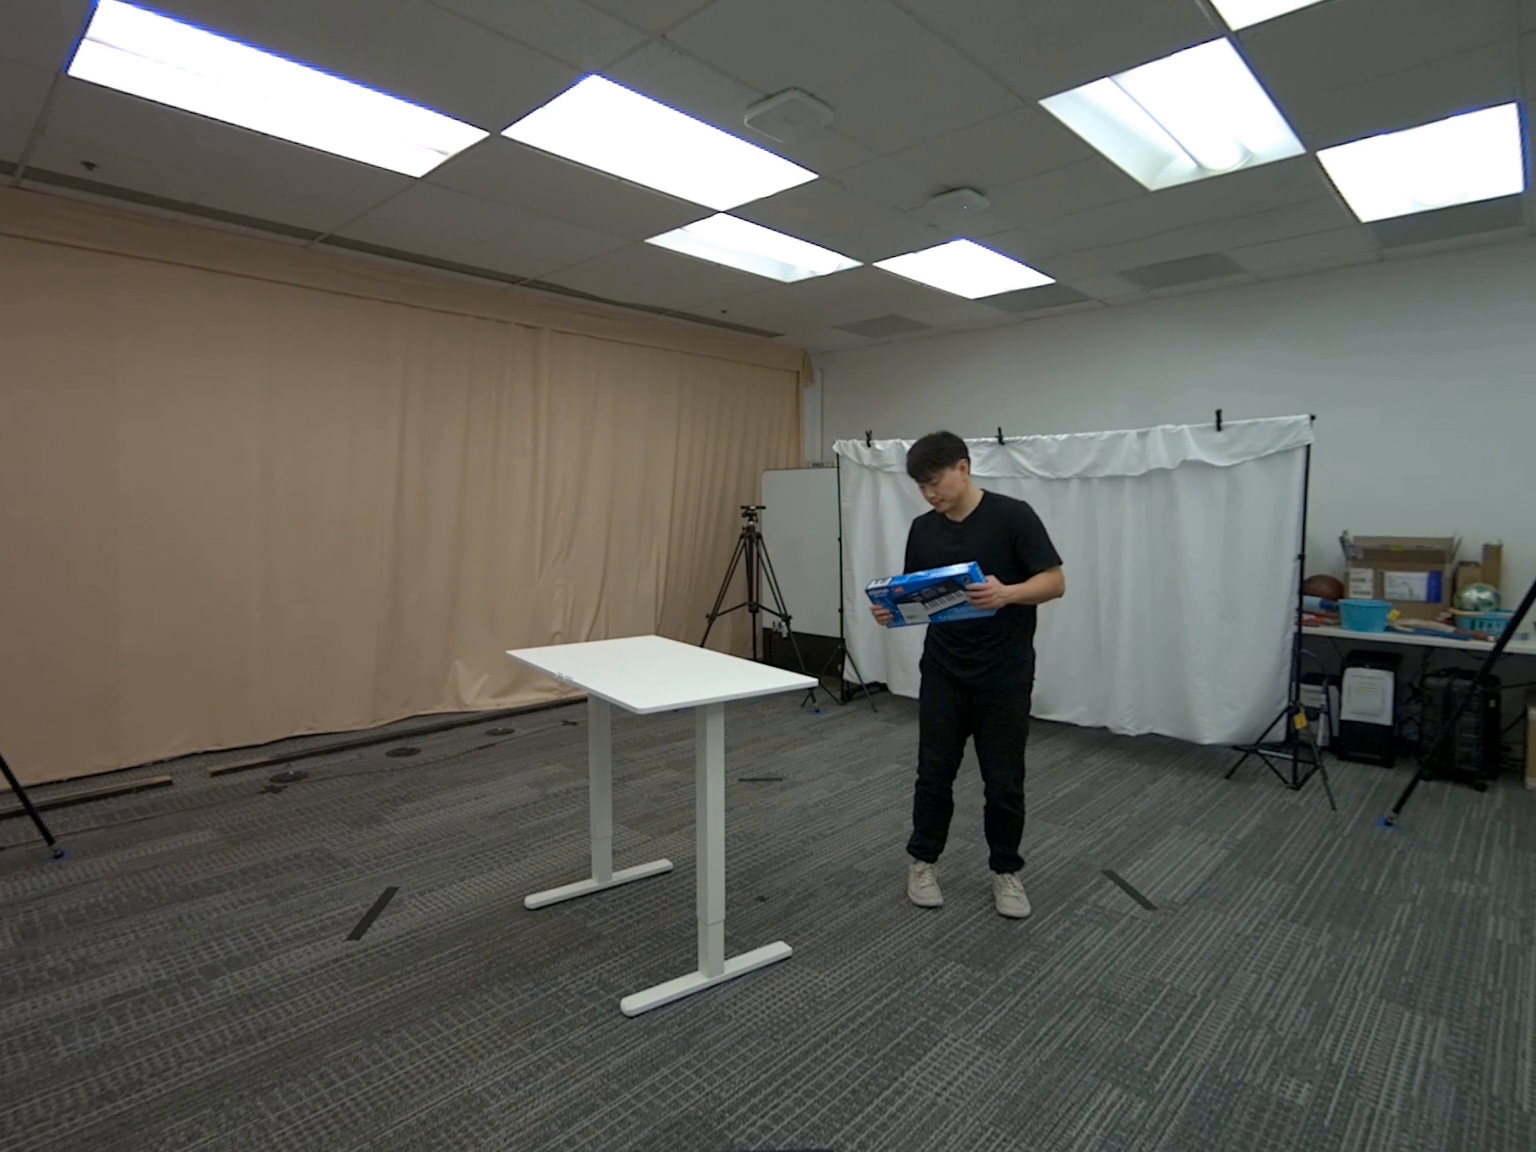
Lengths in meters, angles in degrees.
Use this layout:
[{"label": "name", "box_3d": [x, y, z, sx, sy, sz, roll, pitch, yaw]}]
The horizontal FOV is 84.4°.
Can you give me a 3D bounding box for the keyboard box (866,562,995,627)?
[{"label": "keyboard box", "box_3d": [0.542, 0.074, 2.796, 0.448, 0.173, 0.058, -13, 23, 49]}]
